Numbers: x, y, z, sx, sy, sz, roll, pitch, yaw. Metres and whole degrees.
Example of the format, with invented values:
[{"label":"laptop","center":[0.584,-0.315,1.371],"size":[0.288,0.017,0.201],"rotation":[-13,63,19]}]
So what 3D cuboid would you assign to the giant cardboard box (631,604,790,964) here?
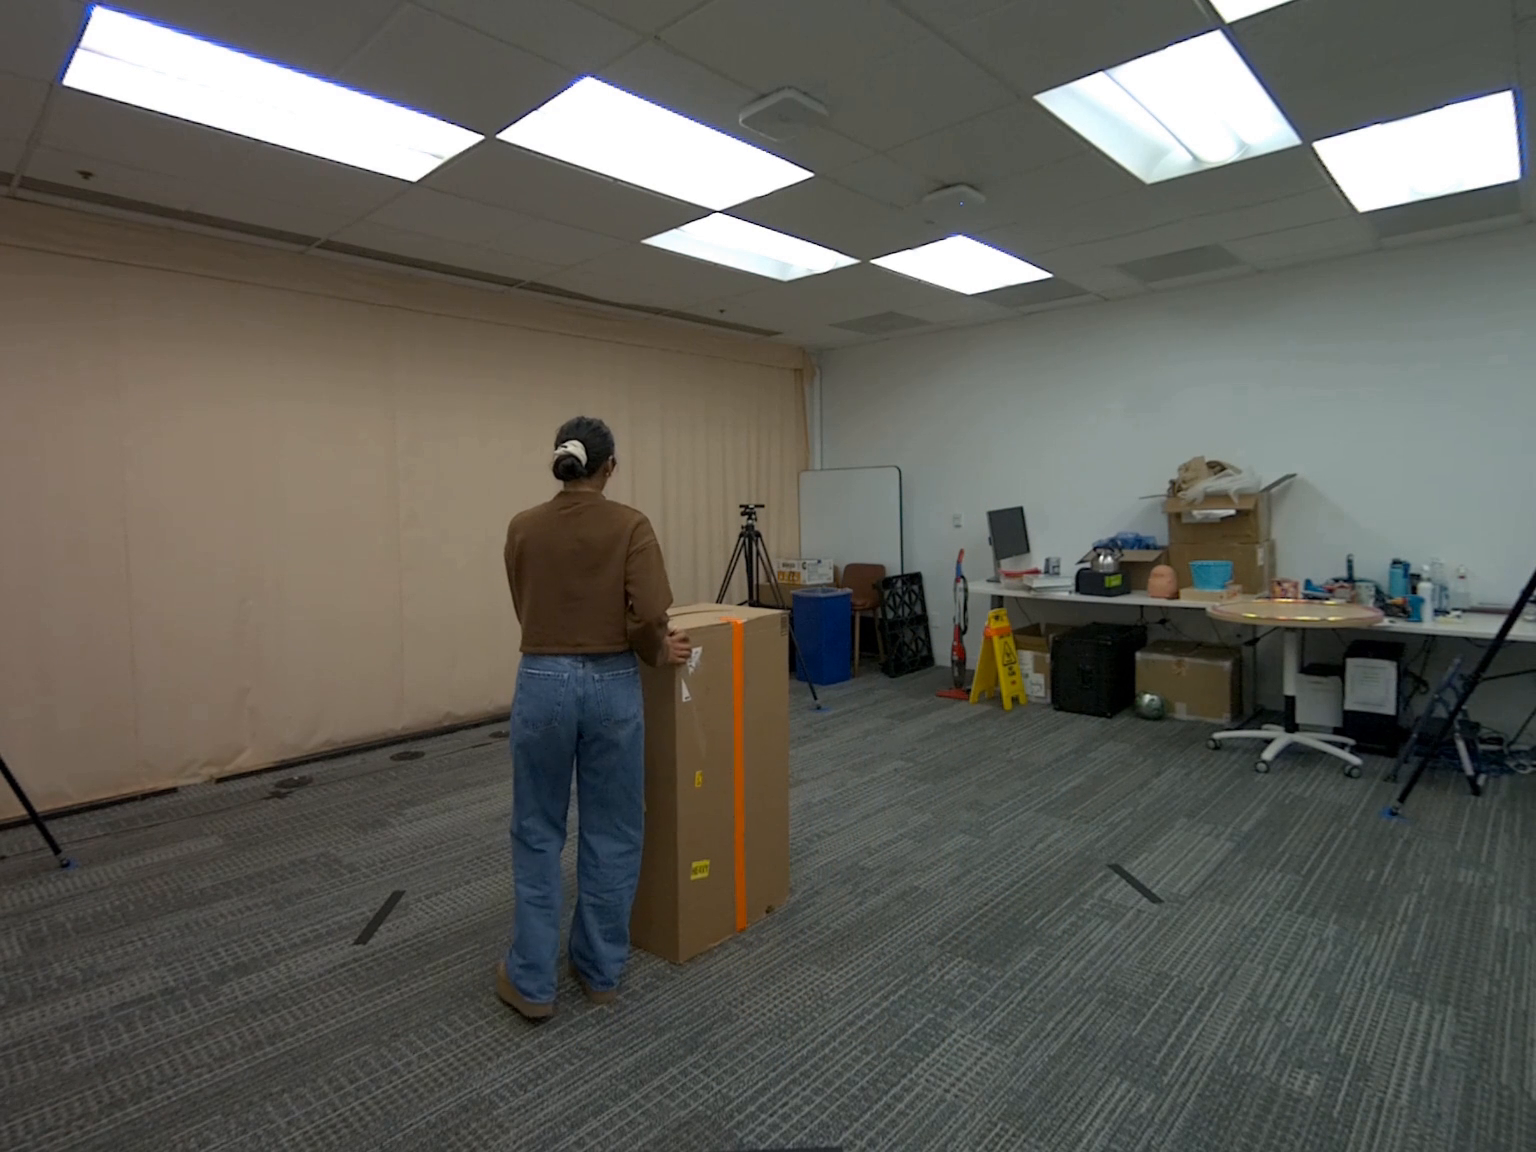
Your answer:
[{"label":"giant cardboard box","center":[-0.255,0.645,2.876],"size":[0.440,1.024,0.560],"rotation":[2,4,39]}]
